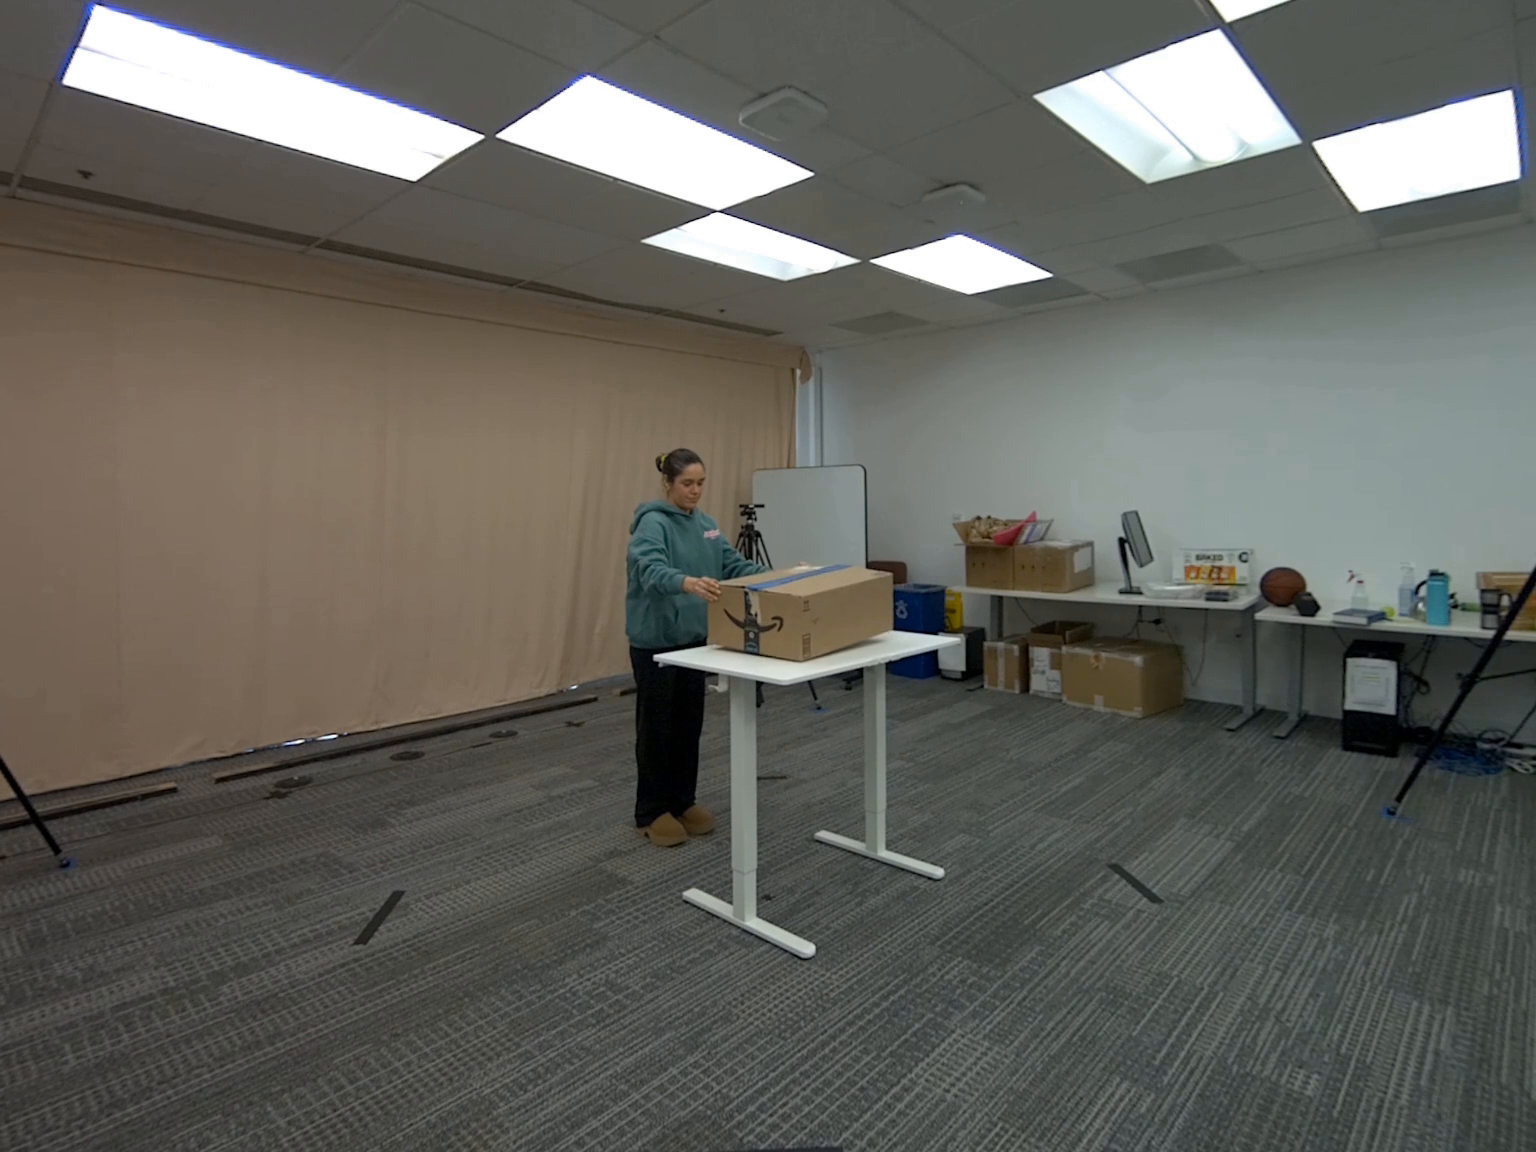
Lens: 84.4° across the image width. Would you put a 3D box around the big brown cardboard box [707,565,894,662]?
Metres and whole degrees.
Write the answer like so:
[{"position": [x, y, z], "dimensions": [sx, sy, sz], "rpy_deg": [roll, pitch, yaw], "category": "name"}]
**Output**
[{"position": [0.131, 0.114, 3.034], "dimensions": [0.432, 0.232, 0.573], "rpy_deg": [5, 12, 41], "category": "big brown cardboard box"}]
